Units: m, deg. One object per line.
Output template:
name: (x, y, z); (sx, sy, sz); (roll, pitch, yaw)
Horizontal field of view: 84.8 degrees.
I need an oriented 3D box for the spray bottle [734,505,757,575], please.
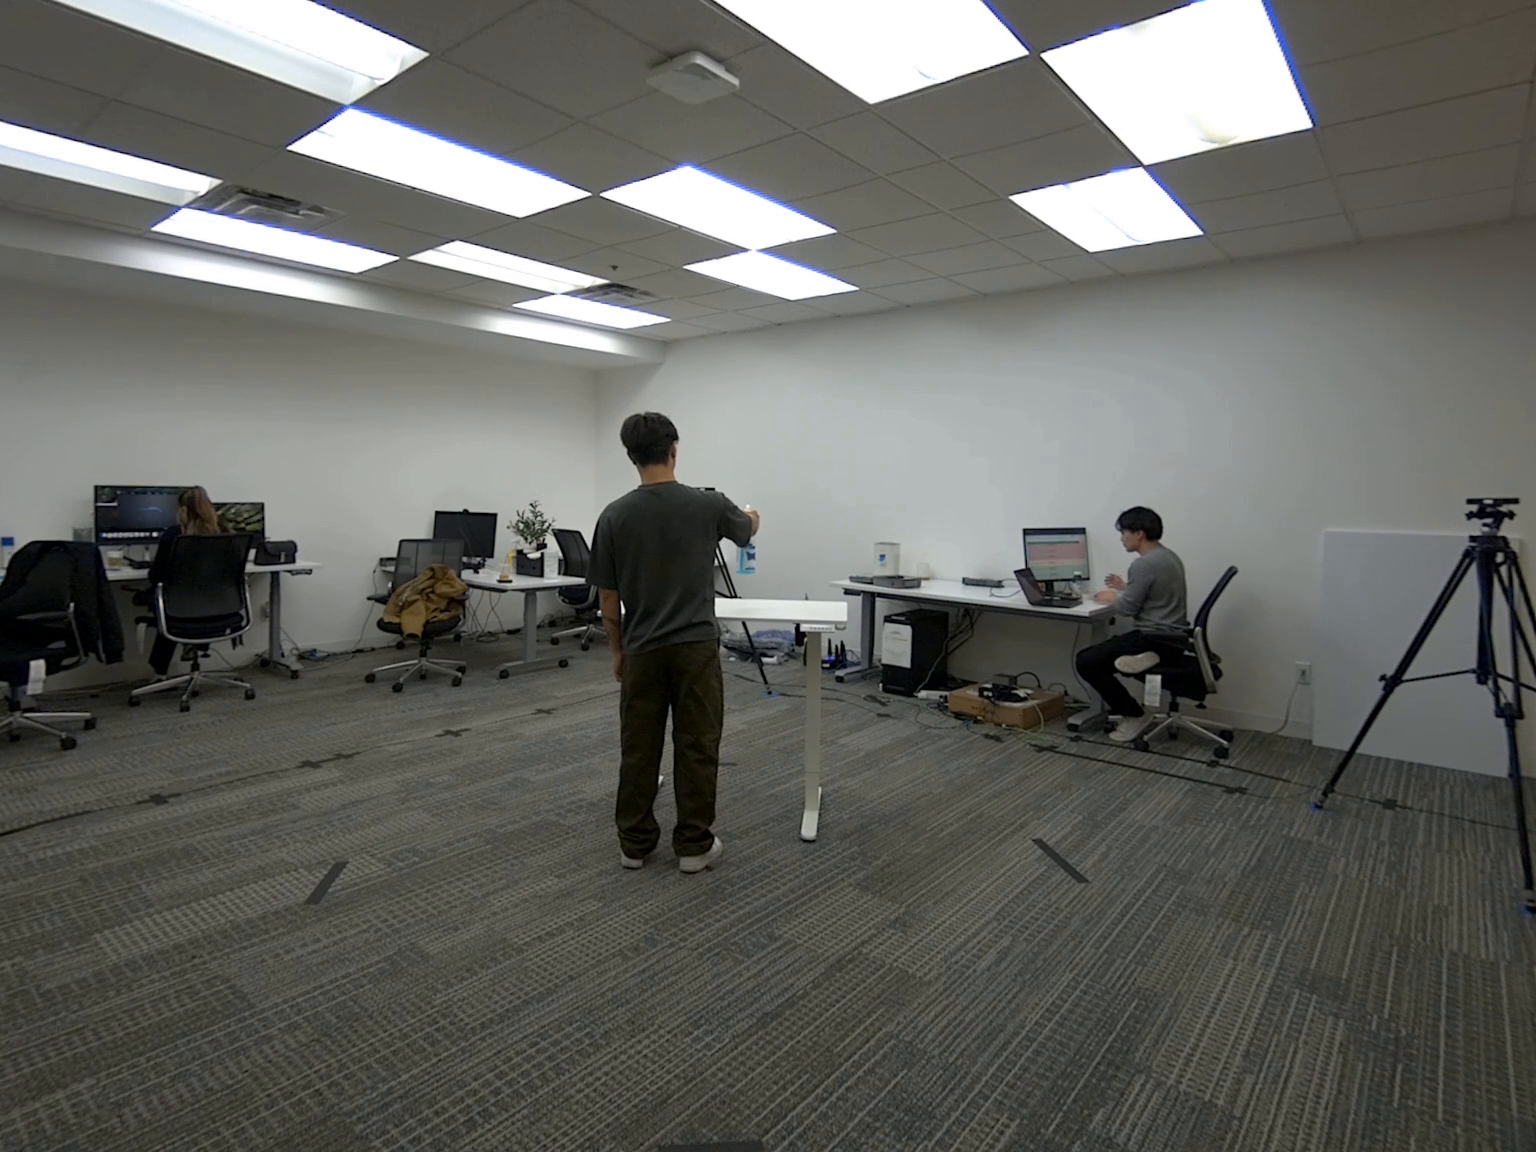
spray bottle: (-0.099, -0.161, 3.660); (0.089, 0.297, 0.088); (2, 0, 23)
